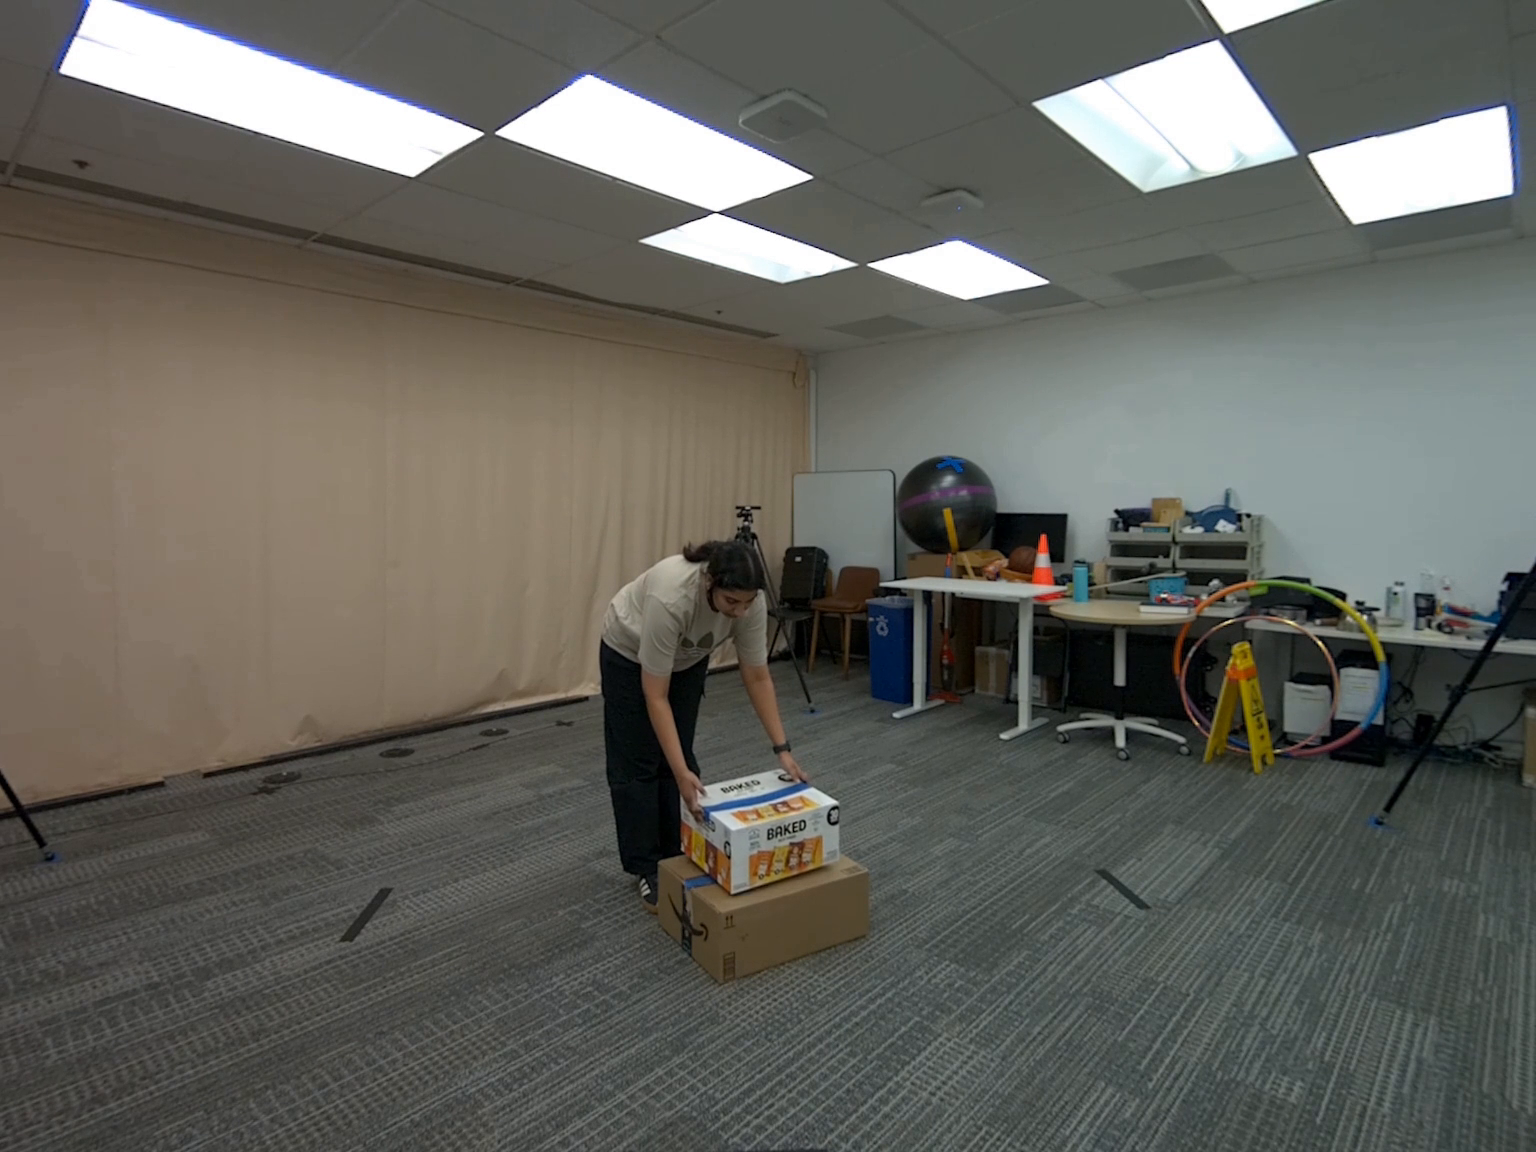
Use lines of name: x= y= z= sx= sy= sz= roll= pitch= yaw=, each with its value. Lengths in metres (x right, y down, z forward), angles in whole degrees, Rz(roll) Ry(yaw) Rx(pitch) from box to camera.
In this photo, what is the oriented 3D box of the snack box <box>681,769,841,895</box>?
snack box: x=-0.027 y=0.823 z=2.755 sx=0.394 sy=0.205 sz=0.351 roll=-5 pitch=9 yaw=-31
